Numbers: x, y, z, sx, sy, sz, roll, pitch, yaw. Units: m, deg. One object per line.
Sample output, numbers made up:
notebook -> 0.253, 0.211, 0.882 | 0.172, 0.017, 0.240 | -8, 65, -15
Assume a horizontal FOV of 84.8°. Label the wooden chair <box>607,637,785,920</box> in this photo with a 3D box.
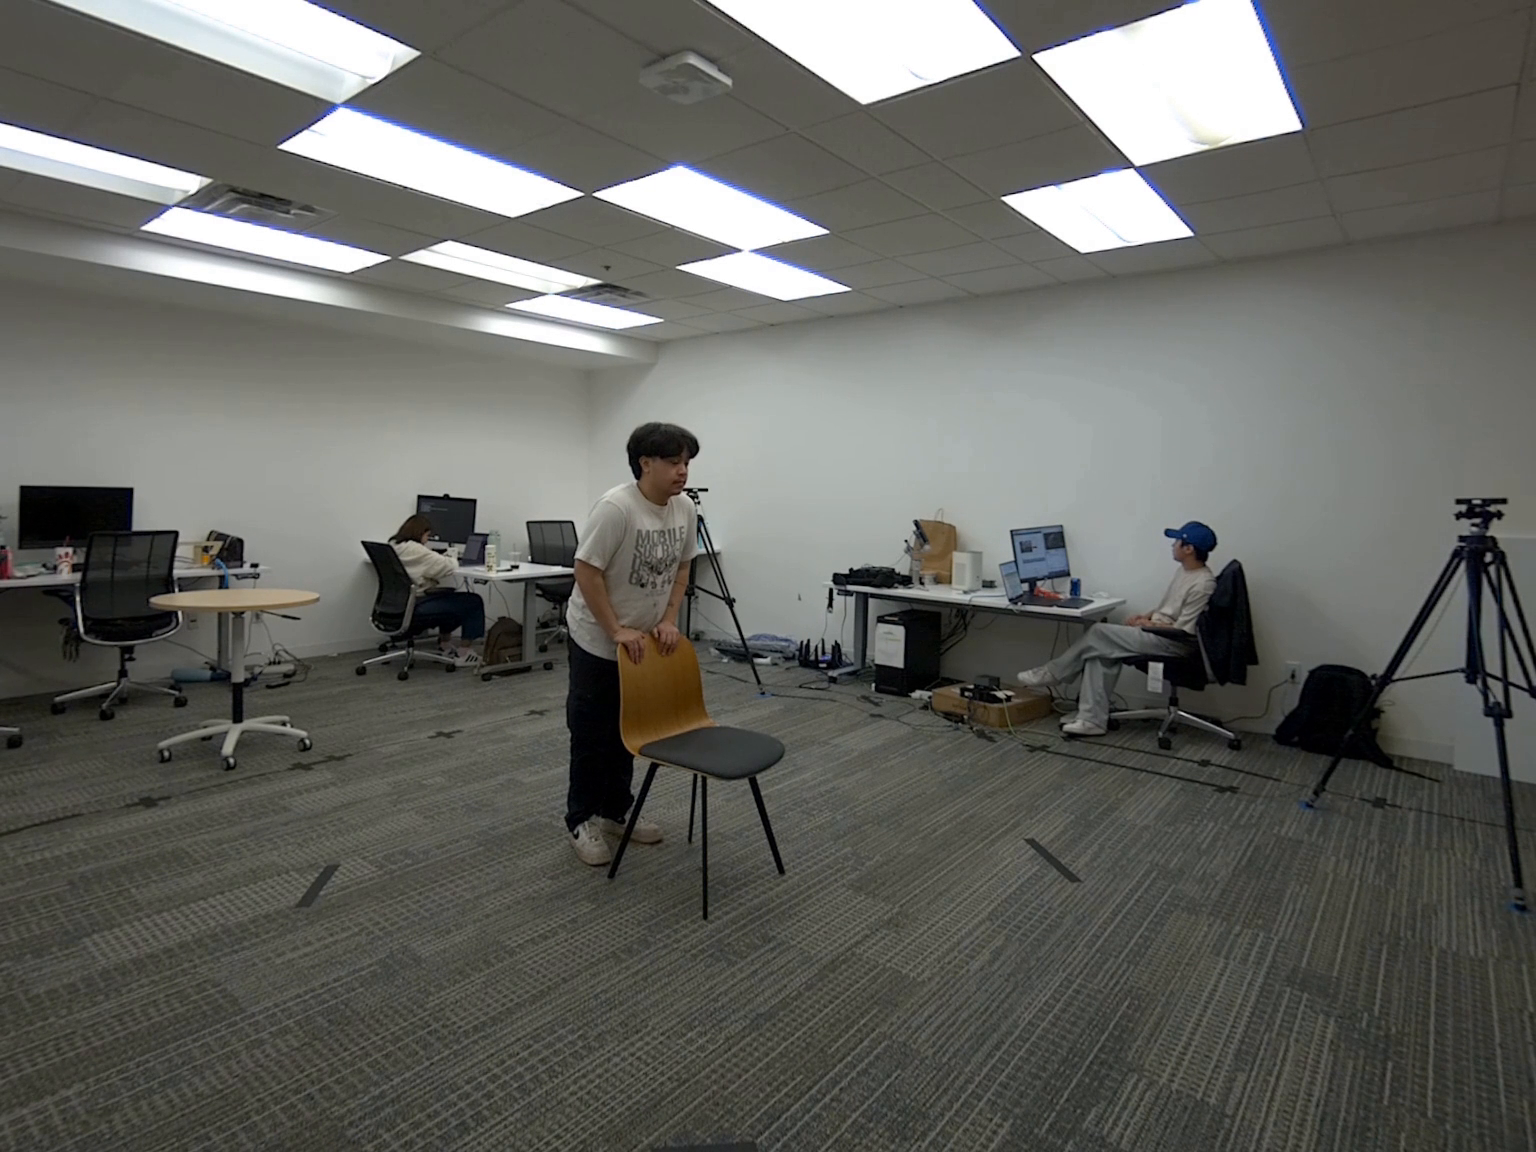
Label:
wooden chair -> -0.247, 0.653, 3.018 | 0.539, 0.878, 0.464 | -2, 0, 37
